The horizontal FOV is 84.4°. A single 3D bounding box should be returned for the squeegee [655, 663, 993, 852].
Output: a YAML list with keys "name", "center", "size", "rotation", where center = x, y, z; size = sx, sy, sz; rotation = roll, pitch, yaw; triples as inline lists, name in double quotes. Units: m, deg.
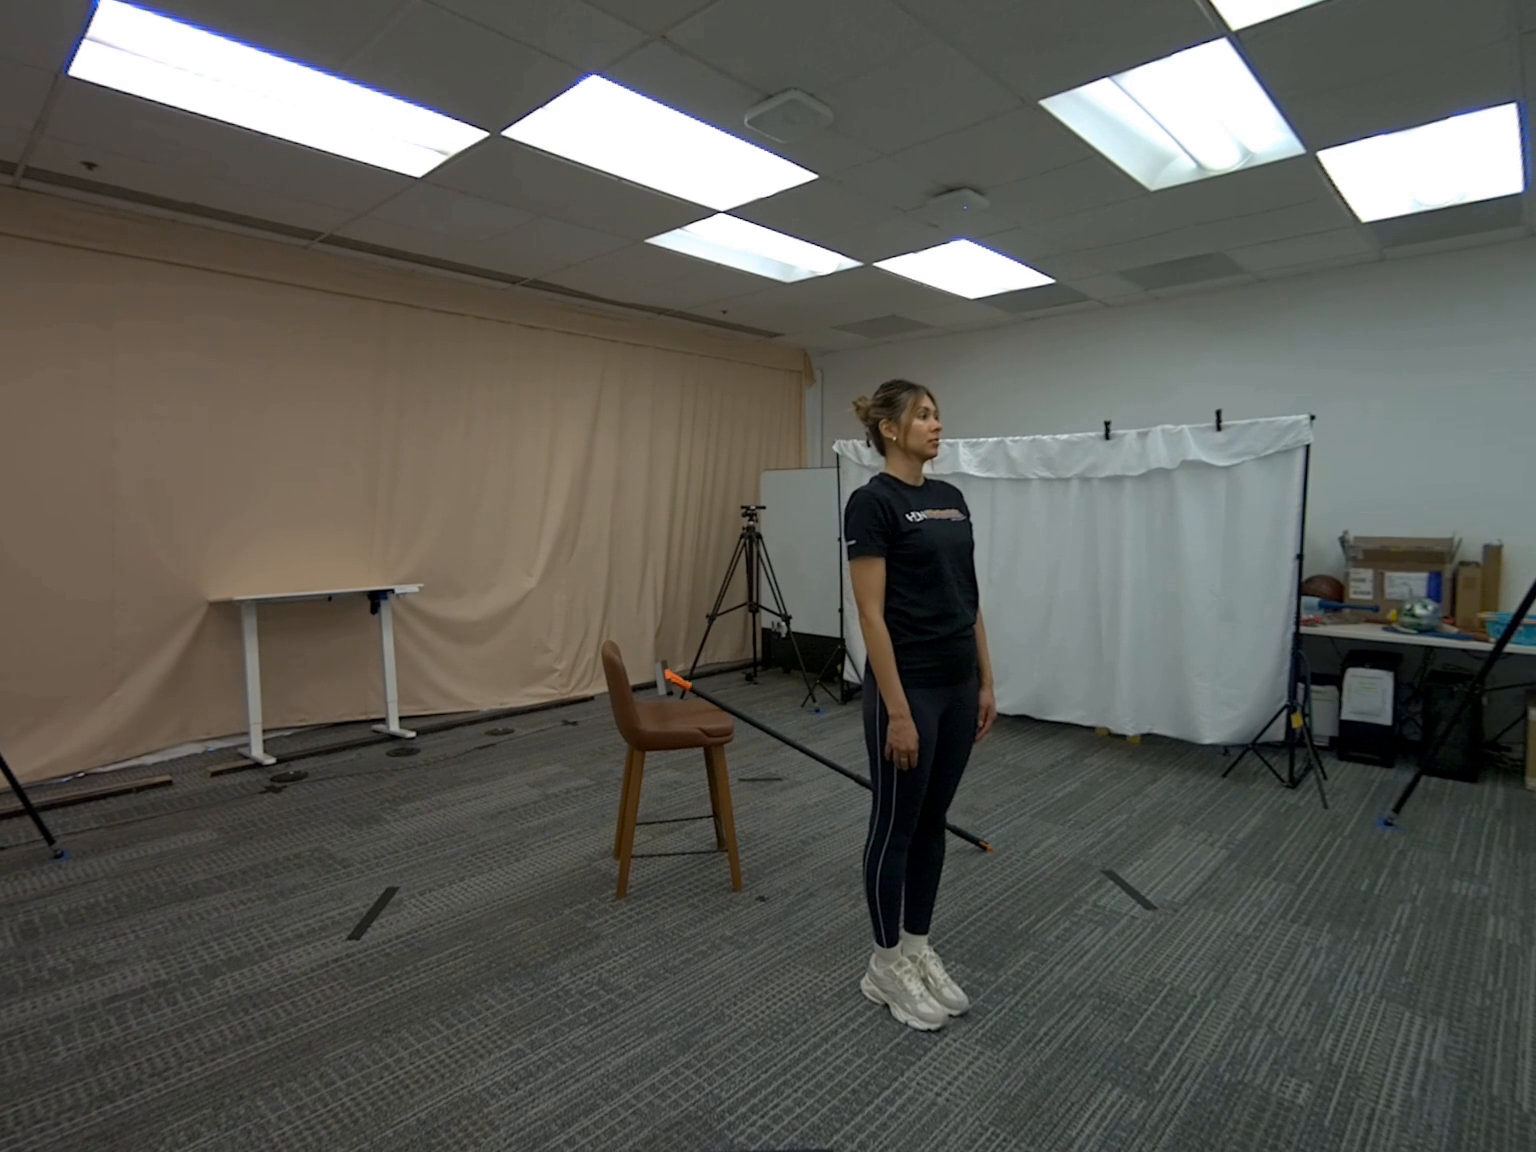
- name: "squeegee"
  center: [0.244, 0.727, 3.275]
  size: [1.517, 0.053, 0.443]
  rotation: [29, 18, -11]
